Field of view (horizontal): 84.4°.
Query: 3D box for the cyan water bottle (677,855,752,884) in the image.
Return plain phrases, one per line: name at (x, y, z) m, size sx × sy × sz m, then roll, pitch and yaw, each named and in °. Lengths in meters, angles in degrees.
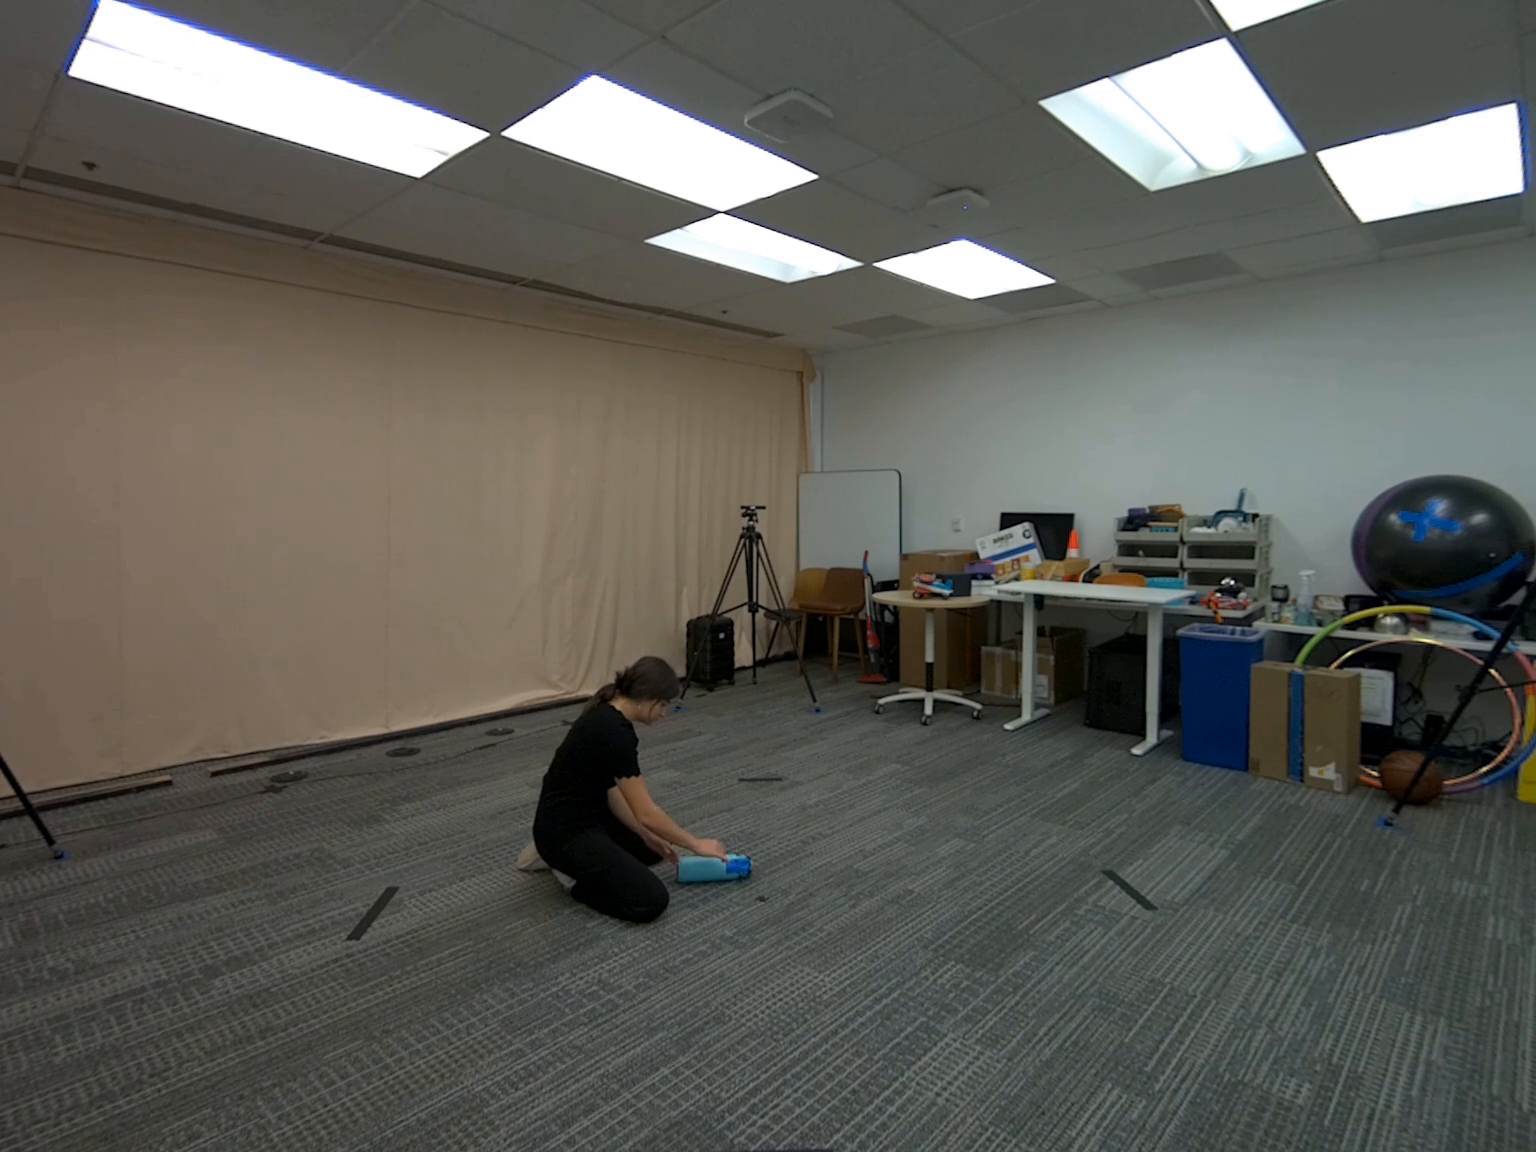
cyan water bottle at (-0.195, 1.089, 3.128) m, size 0.281 × 0.092 × 0.093 m, roll -1°, pitch 4°, yaw -9°
